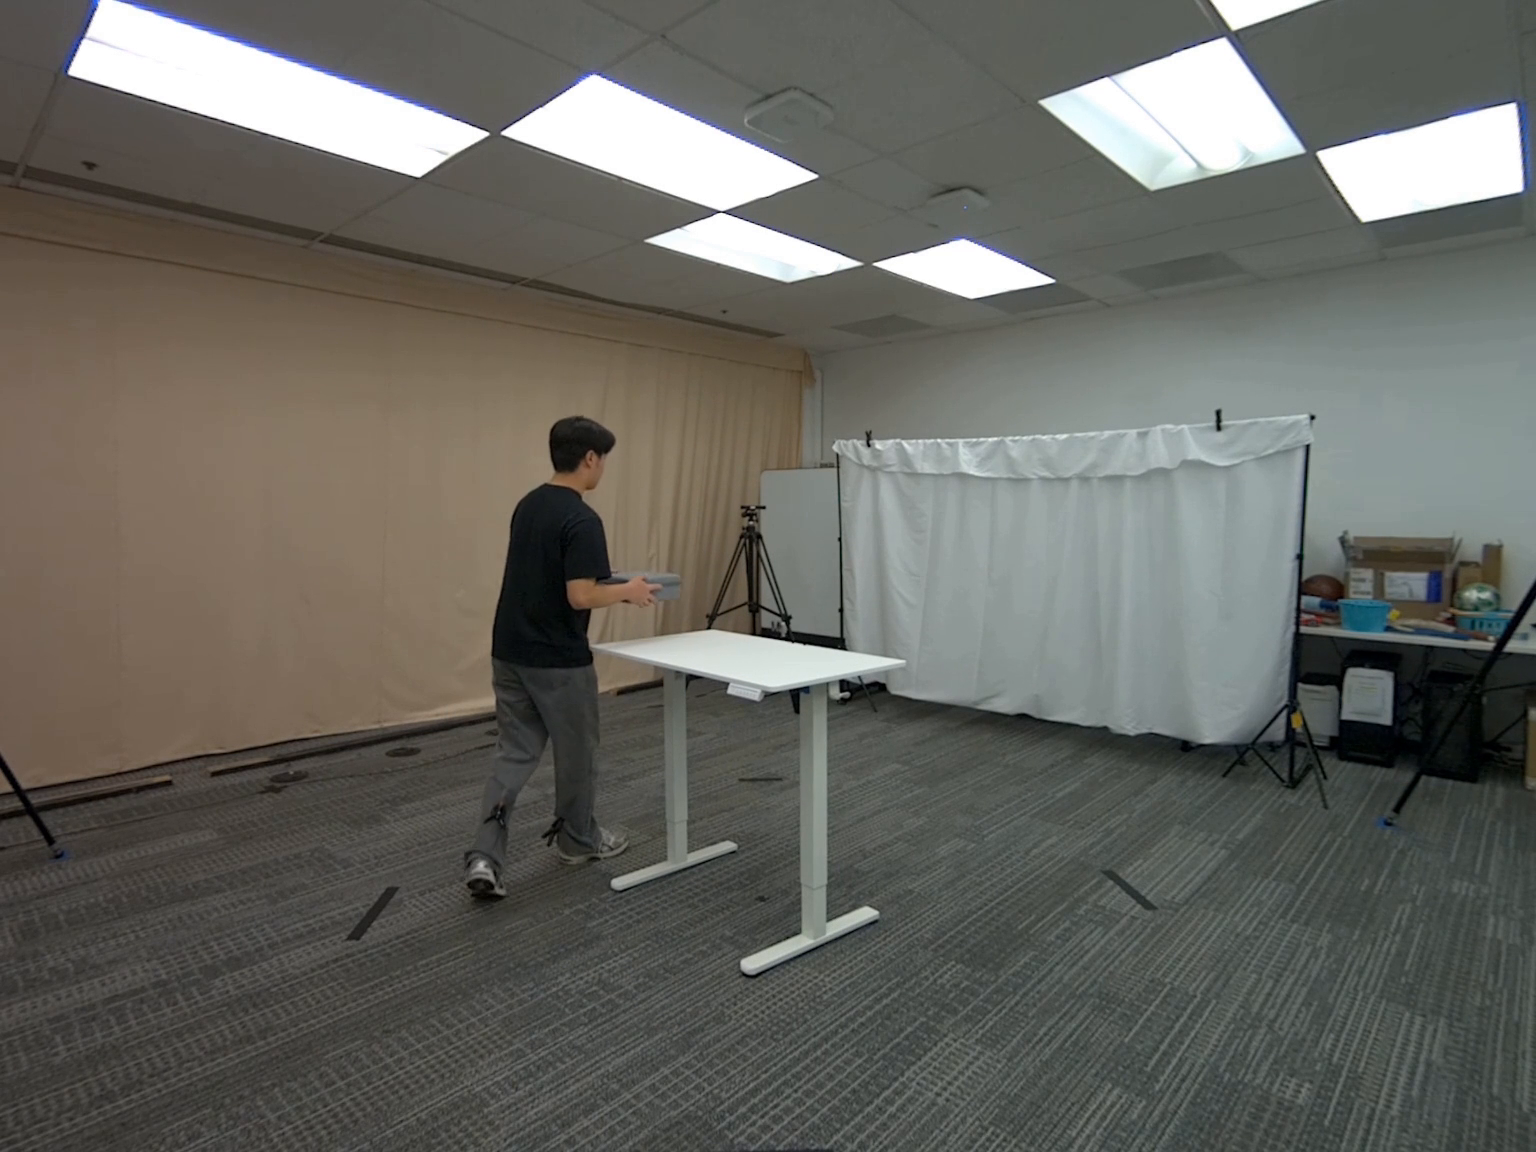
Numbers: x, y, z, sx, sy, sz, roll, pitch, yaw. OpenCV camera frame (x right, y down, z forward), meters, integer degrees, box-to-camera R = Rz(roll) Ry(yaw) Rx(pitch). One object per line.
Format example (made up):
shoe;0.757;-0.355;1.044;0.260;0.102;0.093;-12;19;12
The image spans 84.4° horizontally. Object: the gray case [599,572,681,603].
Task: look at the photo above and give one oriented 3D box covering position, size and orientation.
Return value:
gray case;-0.528;0.042;3.341;0.279;0.103;0.271;-3;6;-35
